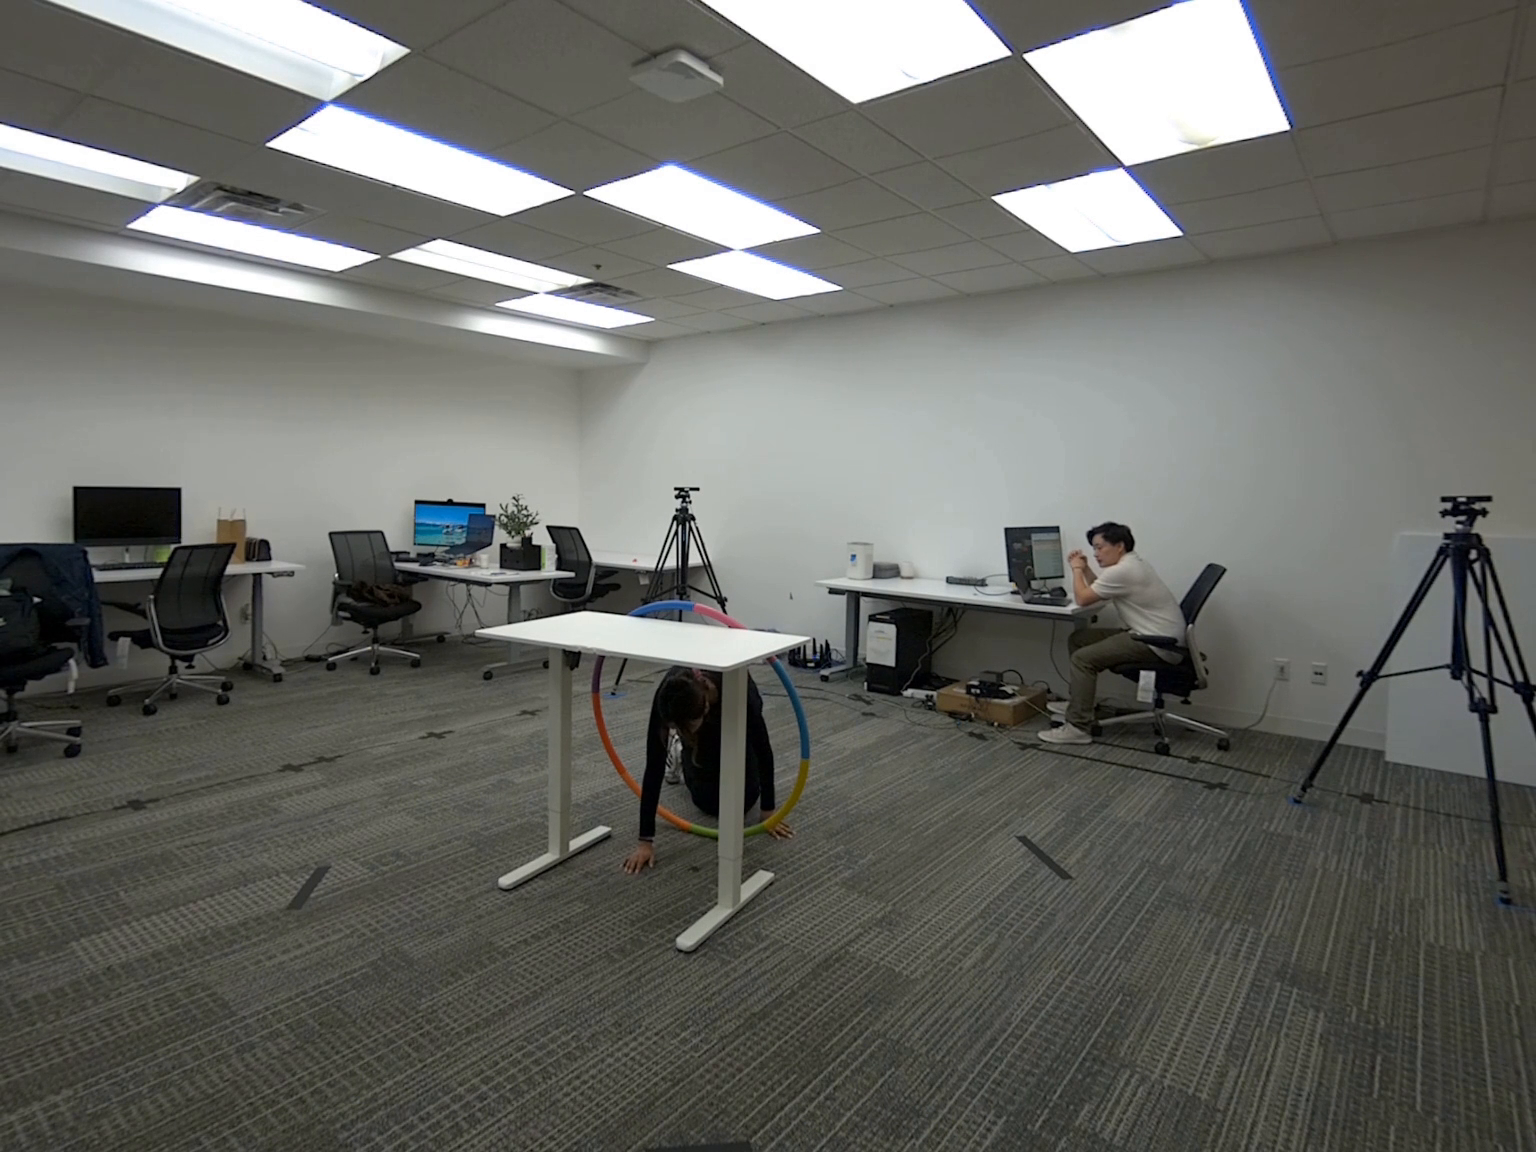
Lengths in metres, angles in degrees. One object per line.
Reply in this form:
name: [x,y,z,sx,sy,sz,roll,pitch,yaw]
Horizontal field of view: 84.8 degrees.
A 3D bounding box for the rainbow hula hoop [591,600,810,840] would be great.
rainbow hula hoop: [-0.299,0.560,3.310,1.007,0.965,0.035,3,15,30]
